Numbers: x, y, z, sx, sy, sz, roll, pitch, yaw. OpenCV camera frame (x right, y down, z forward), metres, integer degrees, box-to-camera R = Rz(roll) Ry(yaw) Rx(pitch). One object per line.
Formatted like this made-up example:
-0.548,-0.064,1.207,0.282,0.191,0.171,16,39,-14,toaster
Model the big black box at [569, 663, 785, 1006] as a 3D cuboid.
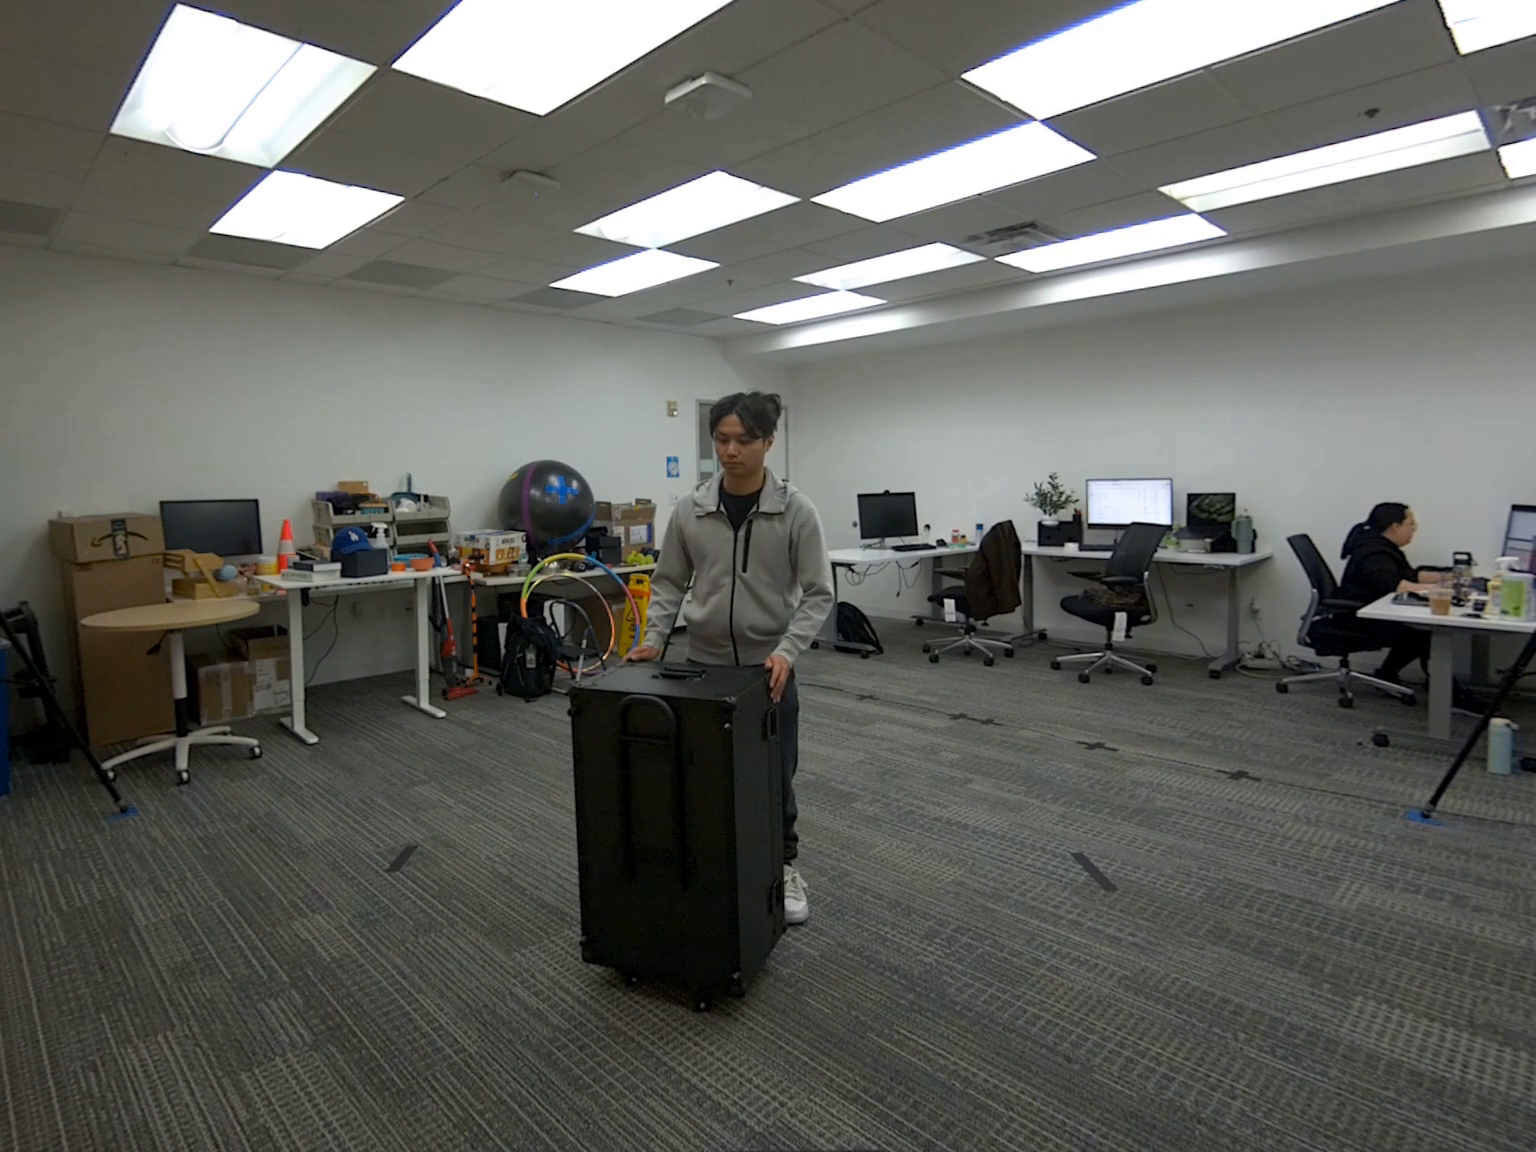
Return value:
-0.242,0.704,2.400,0.532,0.858,0.390,1,5,23,big black box
